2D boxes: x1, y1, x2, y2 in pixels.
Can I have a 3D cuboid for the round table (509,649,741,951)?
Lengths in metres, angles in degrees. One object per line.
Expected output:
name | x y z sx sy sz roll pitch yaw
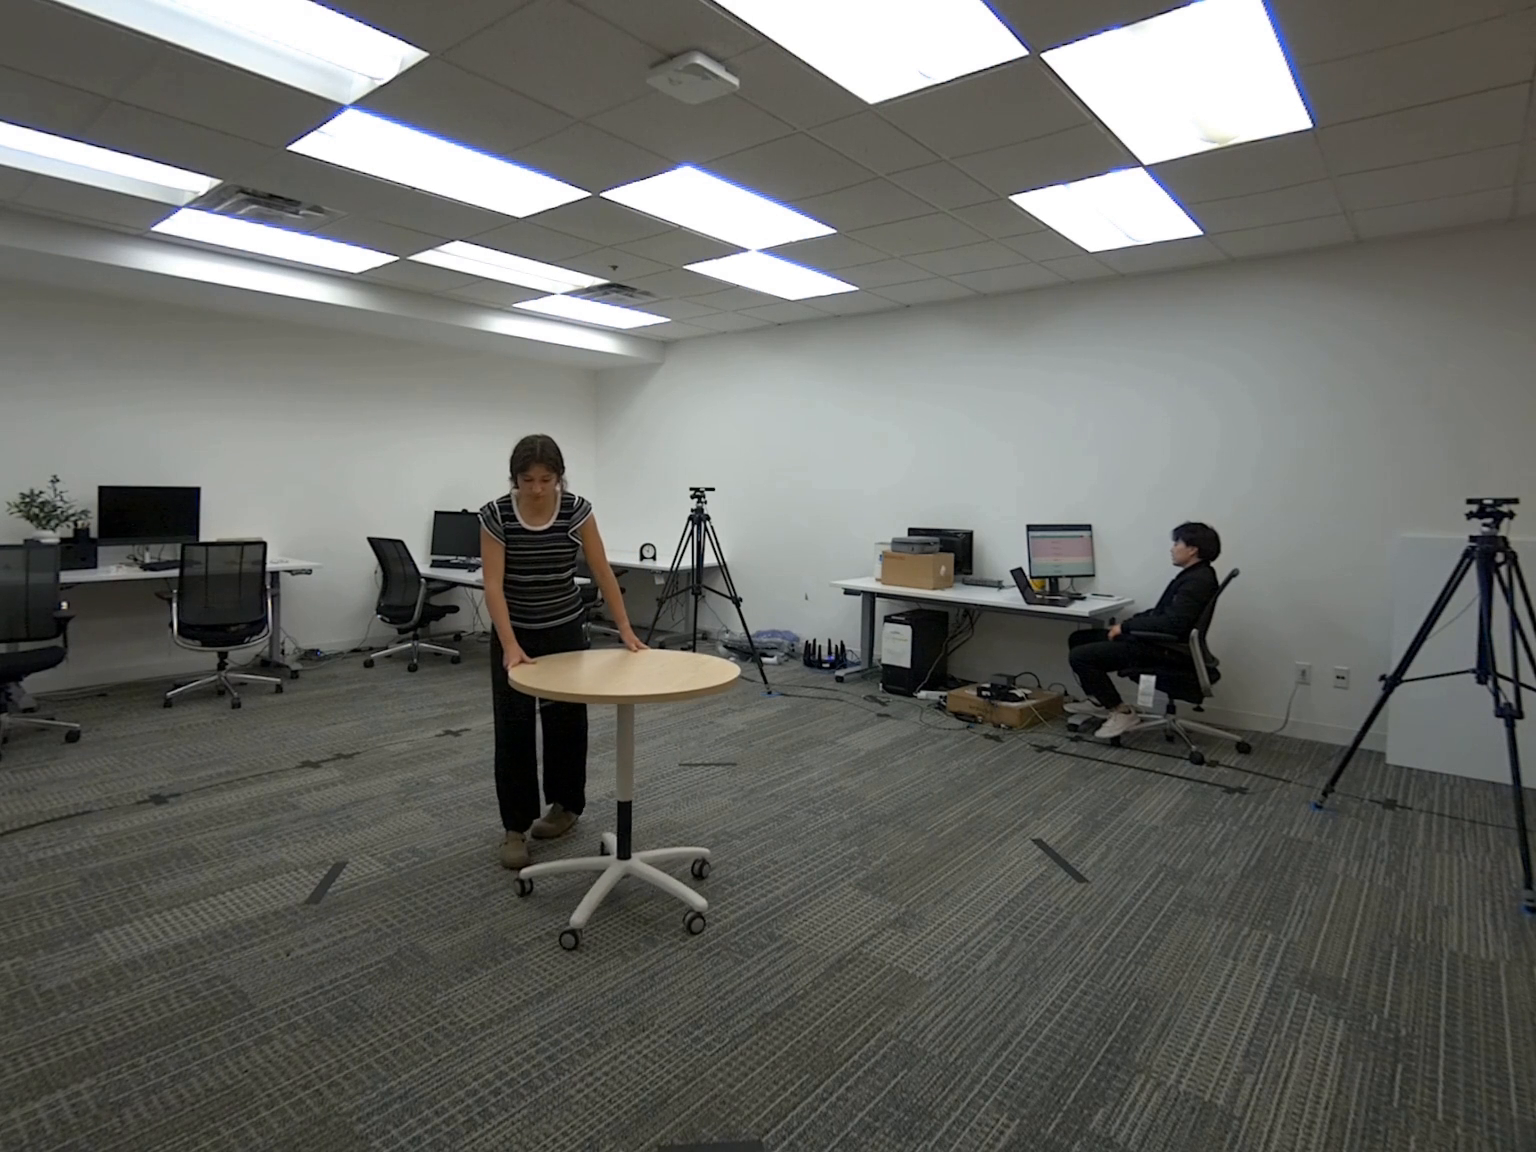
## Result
round table | -0.483 0.699 2.856 0.763 0.792 0.767 1 4 -2
